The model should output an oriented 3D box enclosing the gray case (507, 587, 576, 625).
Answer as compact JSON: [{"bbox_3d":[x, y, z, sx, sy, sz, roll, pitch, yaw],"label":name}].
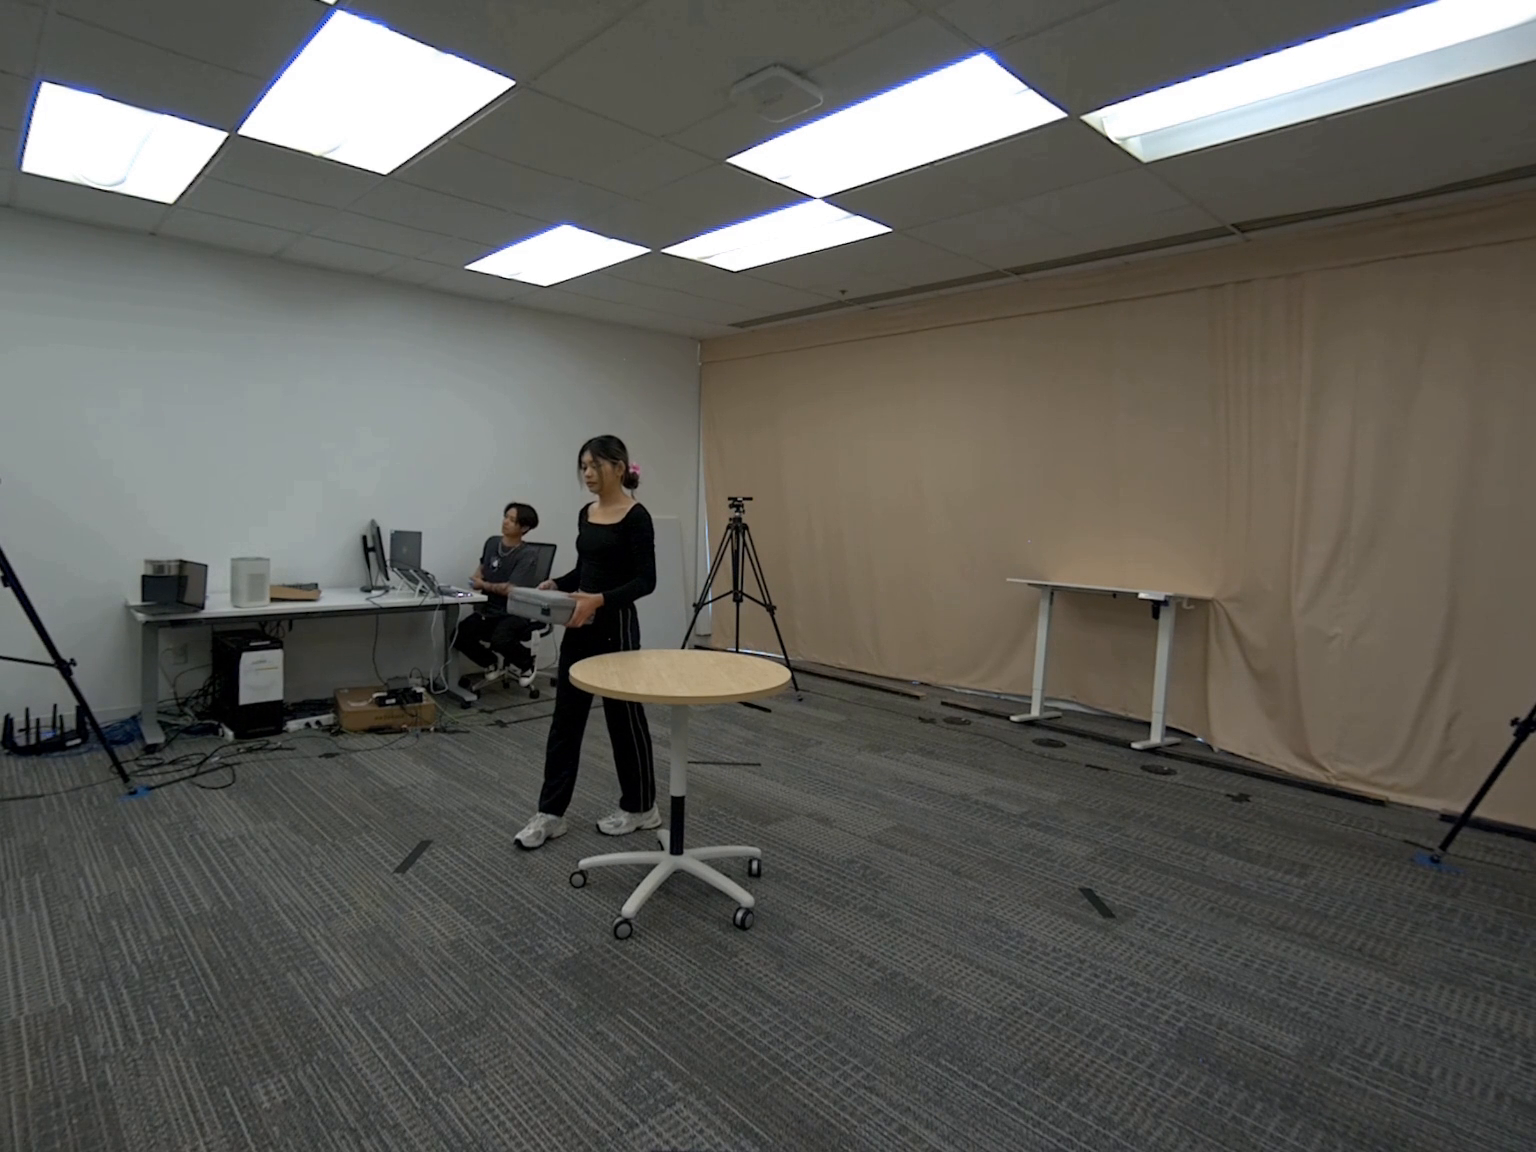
[{"bbox_3d":[-0.838,0.113,3.225,0.263,0.104,0.254,9,1,30],"label":"gray case"}]
